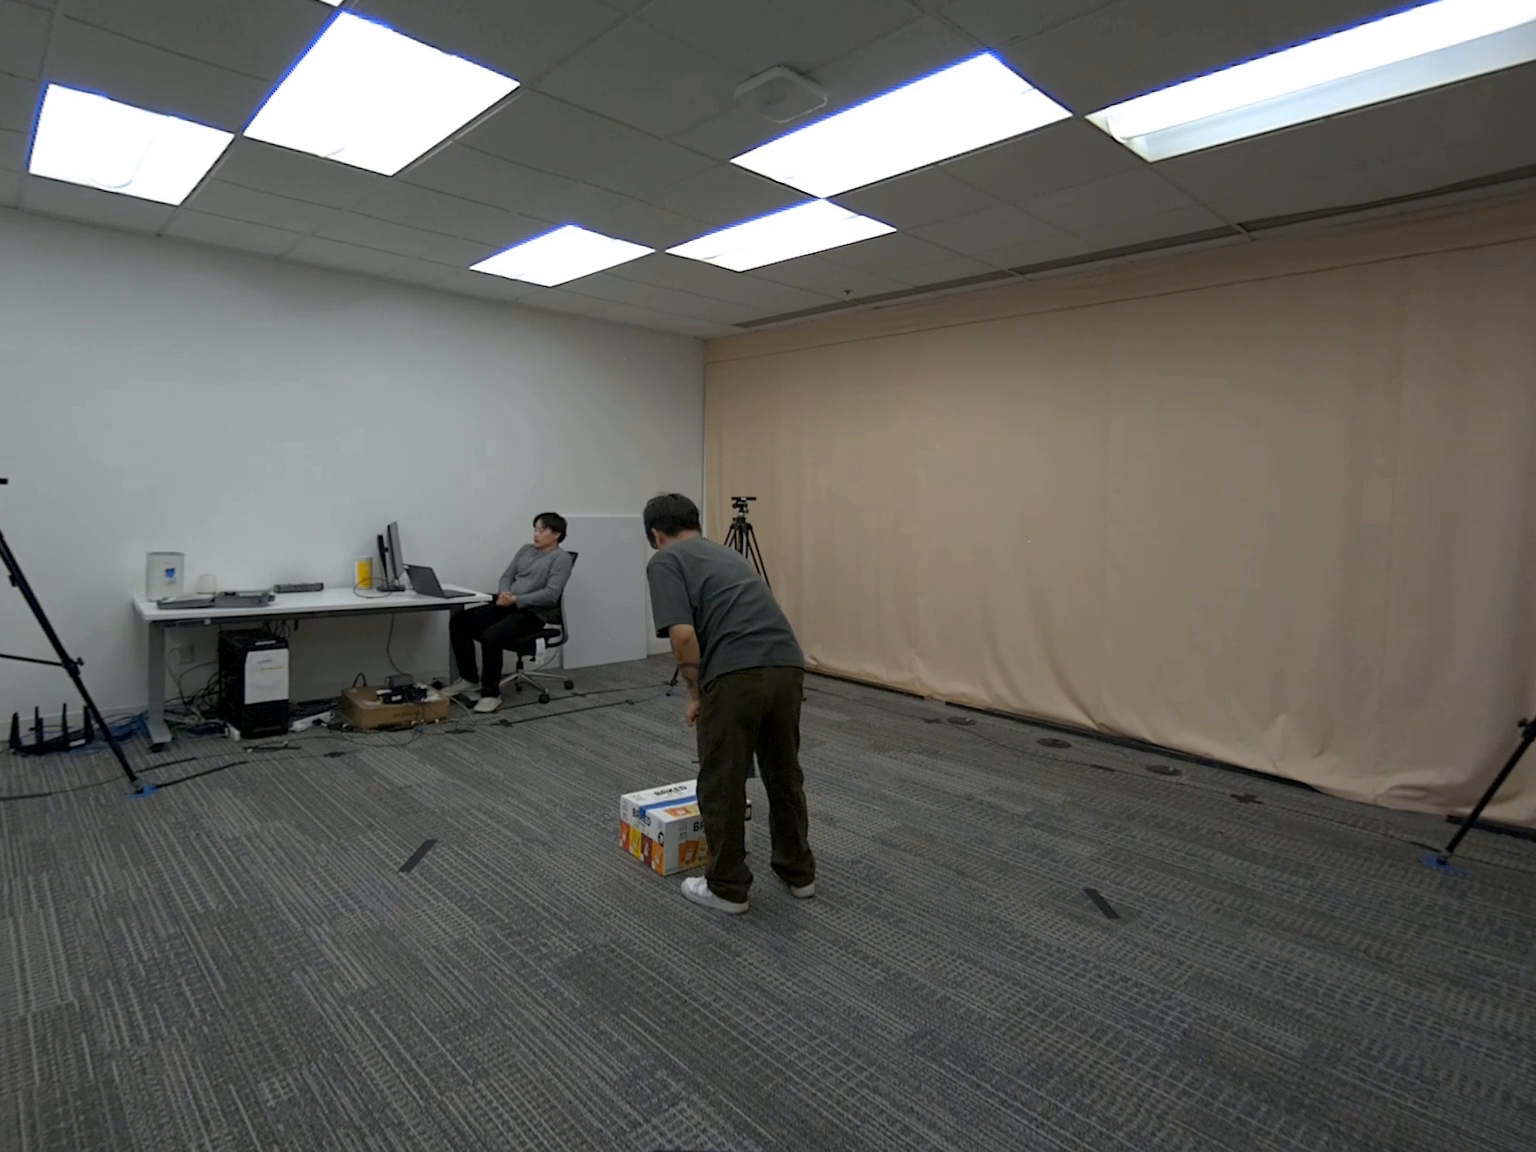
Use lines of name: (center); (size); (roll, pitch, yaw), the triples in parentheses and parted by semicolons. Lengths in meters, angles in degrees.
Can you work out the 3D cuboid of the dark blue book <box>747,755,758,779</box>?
dark blue book: (-0.126, 0.687, 3.165); (0.044, 0.165, 0.248); (7, -18, -38)
